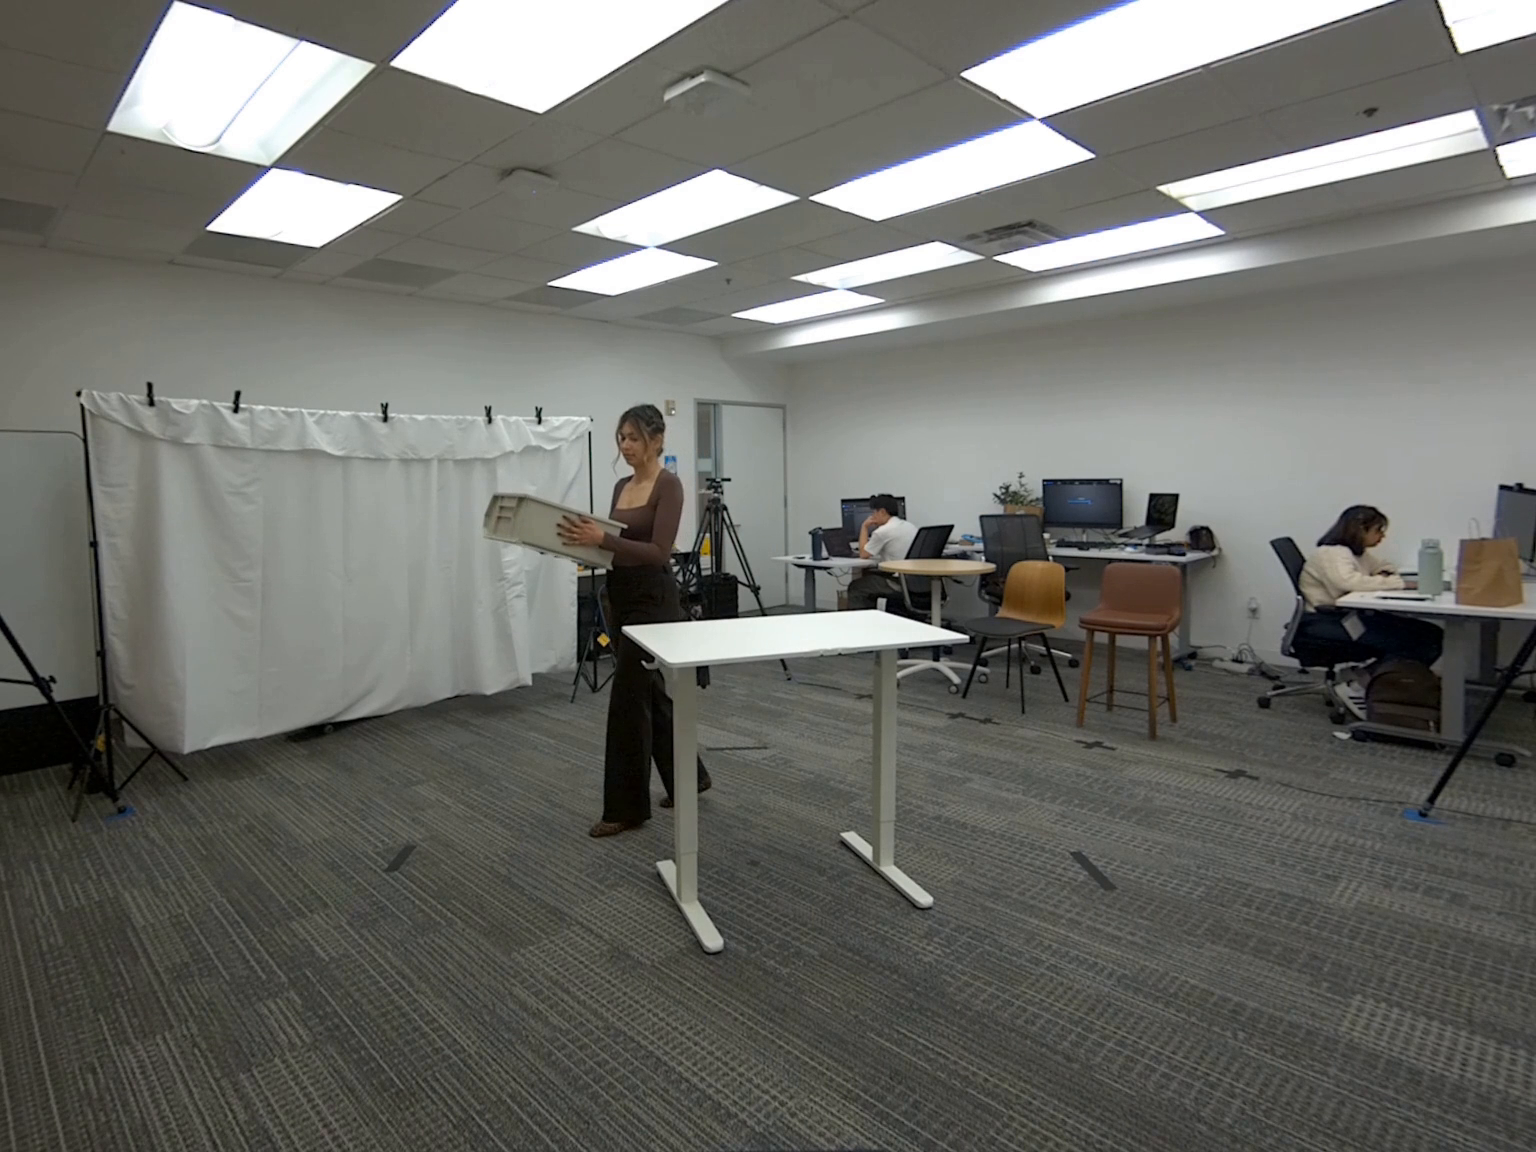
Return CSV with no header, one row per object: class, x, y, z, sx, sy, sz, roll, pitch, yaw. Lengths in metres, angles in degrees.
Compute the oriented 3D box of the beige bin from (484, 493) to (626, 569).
beige bin,-0.830,-0.171,3.286,0.408,0.189,0.389,17,-5,-35
